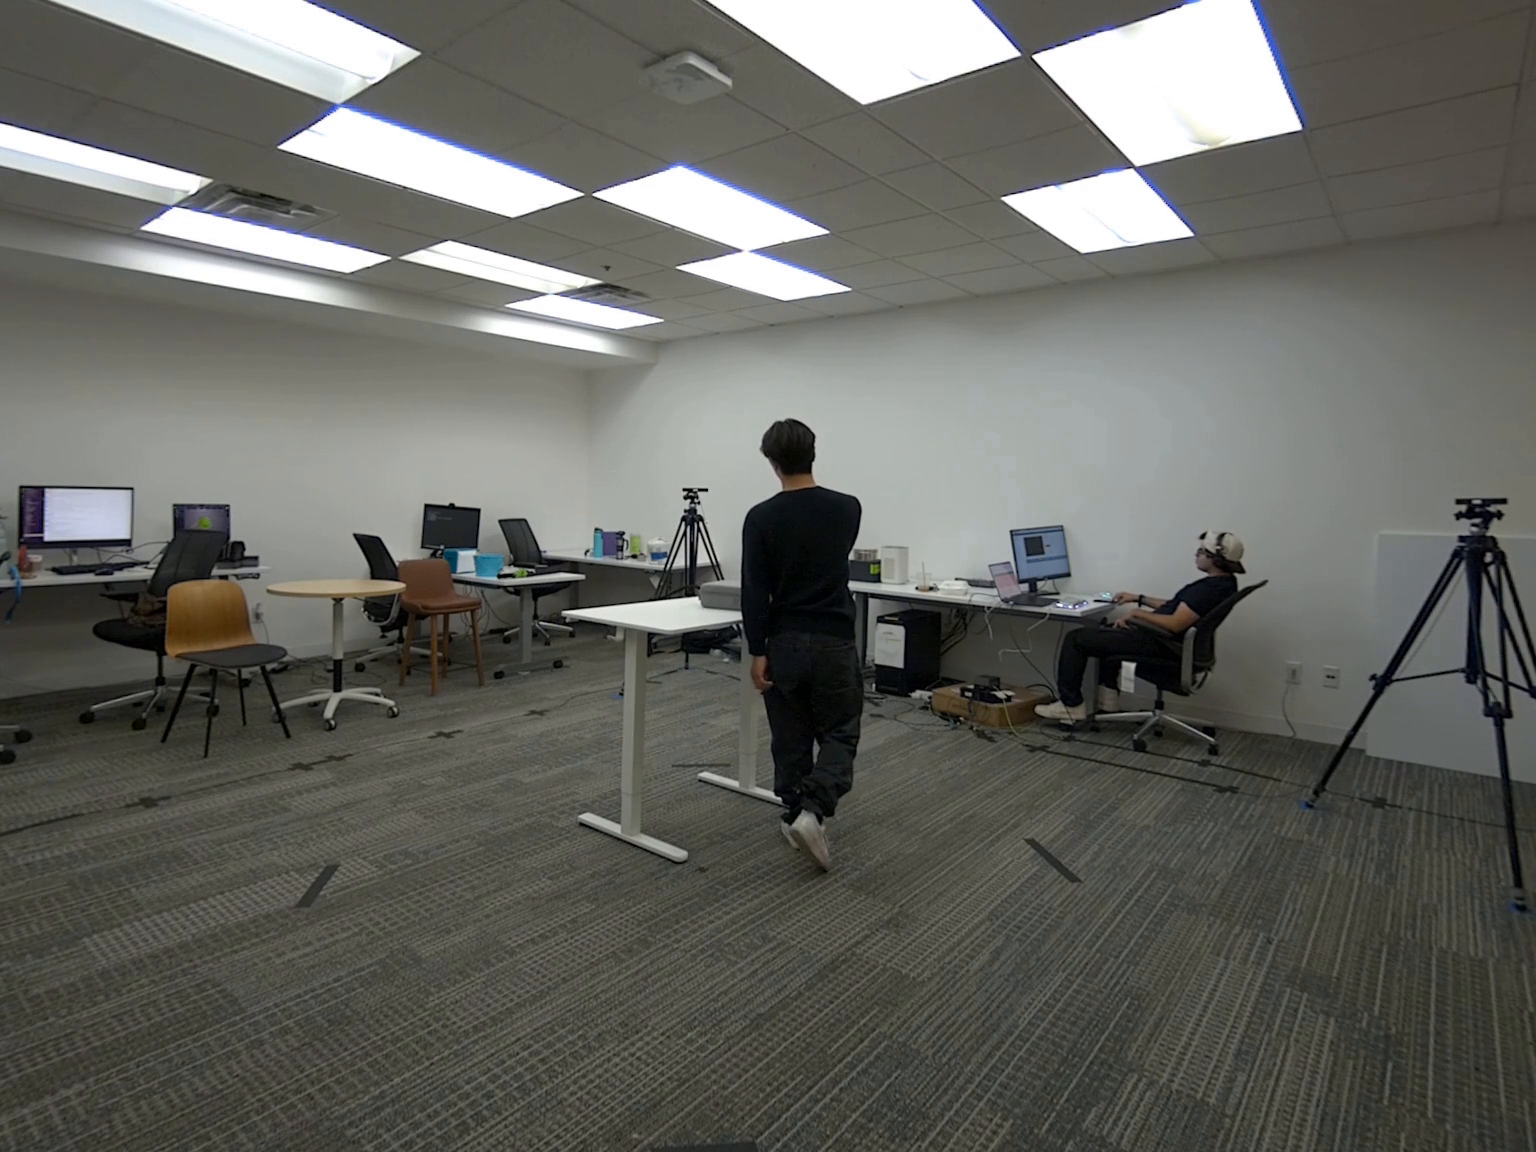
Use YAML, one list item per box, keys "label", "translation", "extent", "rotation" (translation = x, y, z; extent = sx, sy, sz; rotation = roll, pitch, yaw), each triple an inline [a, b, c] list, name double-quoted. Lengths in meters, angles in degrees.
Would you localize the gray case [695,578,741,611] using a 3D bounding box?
- label: "gray case"
  translation: [-0.144, 0.078, 3.709]
  extent: [0.267, 0.104, 0.251]
  rotation: [5, 5, 24]
